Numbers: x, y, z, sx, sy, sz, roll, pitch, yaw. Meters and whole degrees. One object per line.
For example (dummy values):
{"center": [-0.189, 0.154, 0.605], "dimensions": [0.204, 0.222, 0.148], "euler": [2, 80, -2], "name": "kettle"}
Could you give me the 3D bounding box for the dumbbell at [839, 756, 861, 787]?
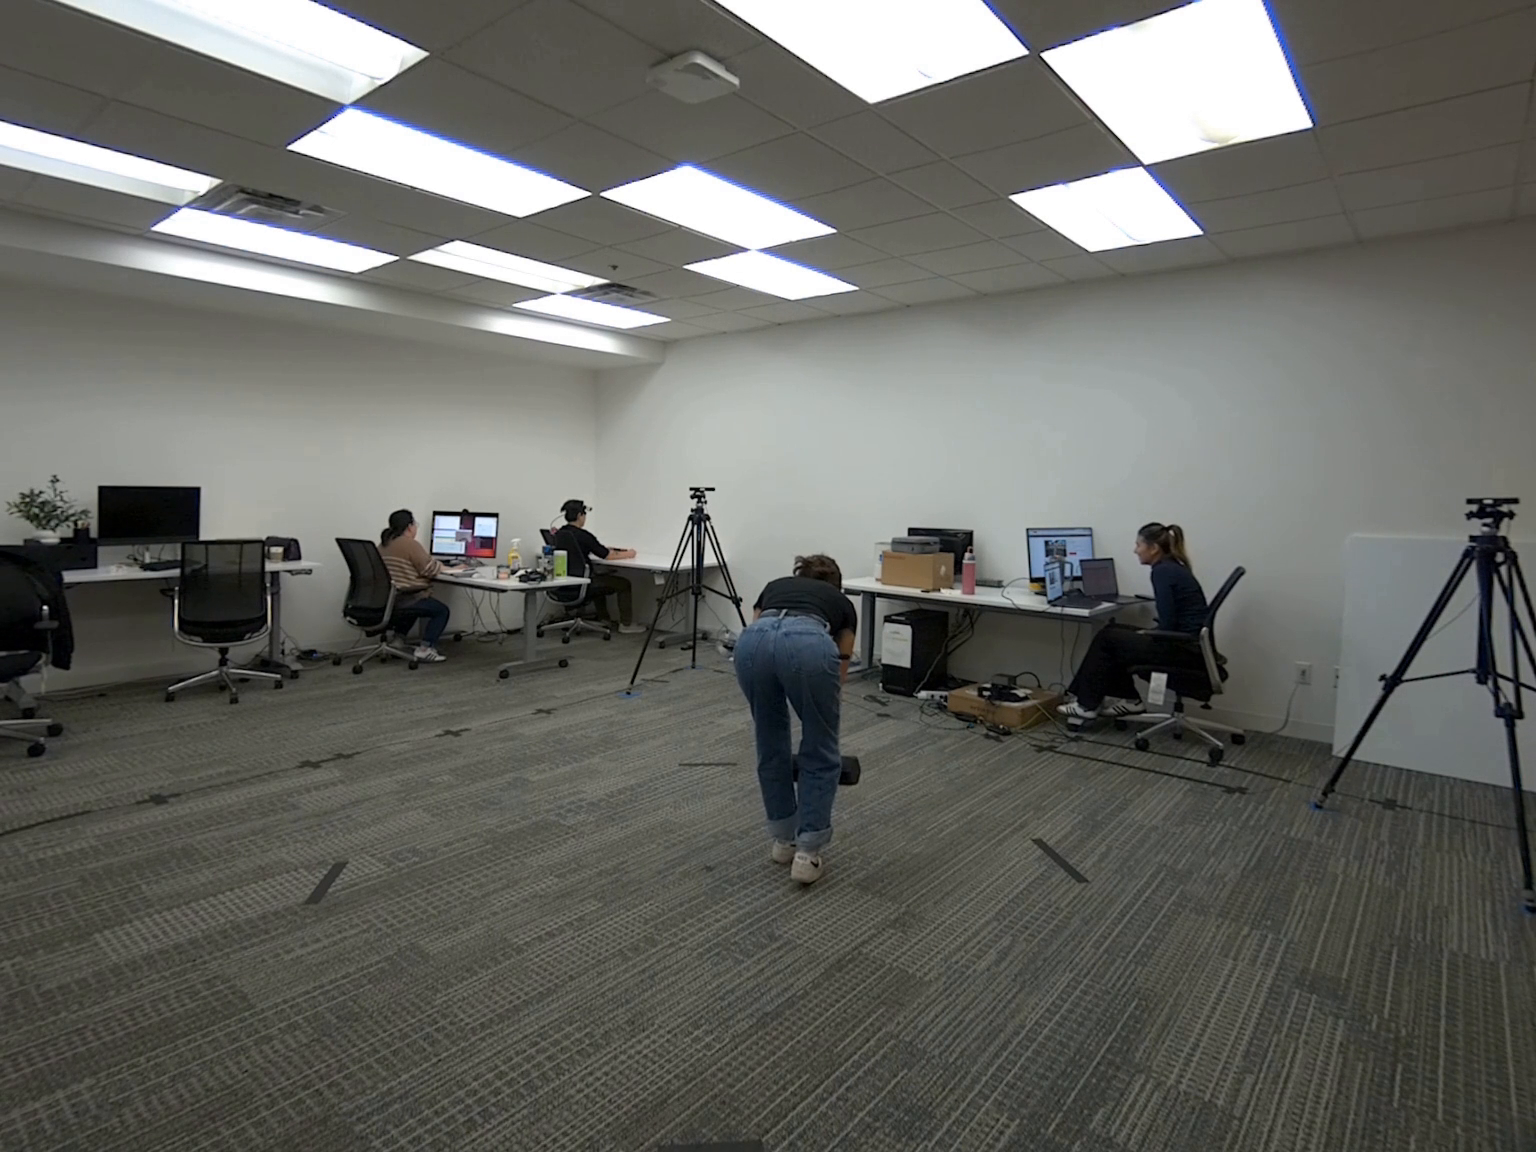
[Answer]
{"center": [0.196, 0.743, 3.272], "dimensions": [0.301, 0.125, 0.104], "euler": [-4, -41, 31], "name": "dumbbell"}
